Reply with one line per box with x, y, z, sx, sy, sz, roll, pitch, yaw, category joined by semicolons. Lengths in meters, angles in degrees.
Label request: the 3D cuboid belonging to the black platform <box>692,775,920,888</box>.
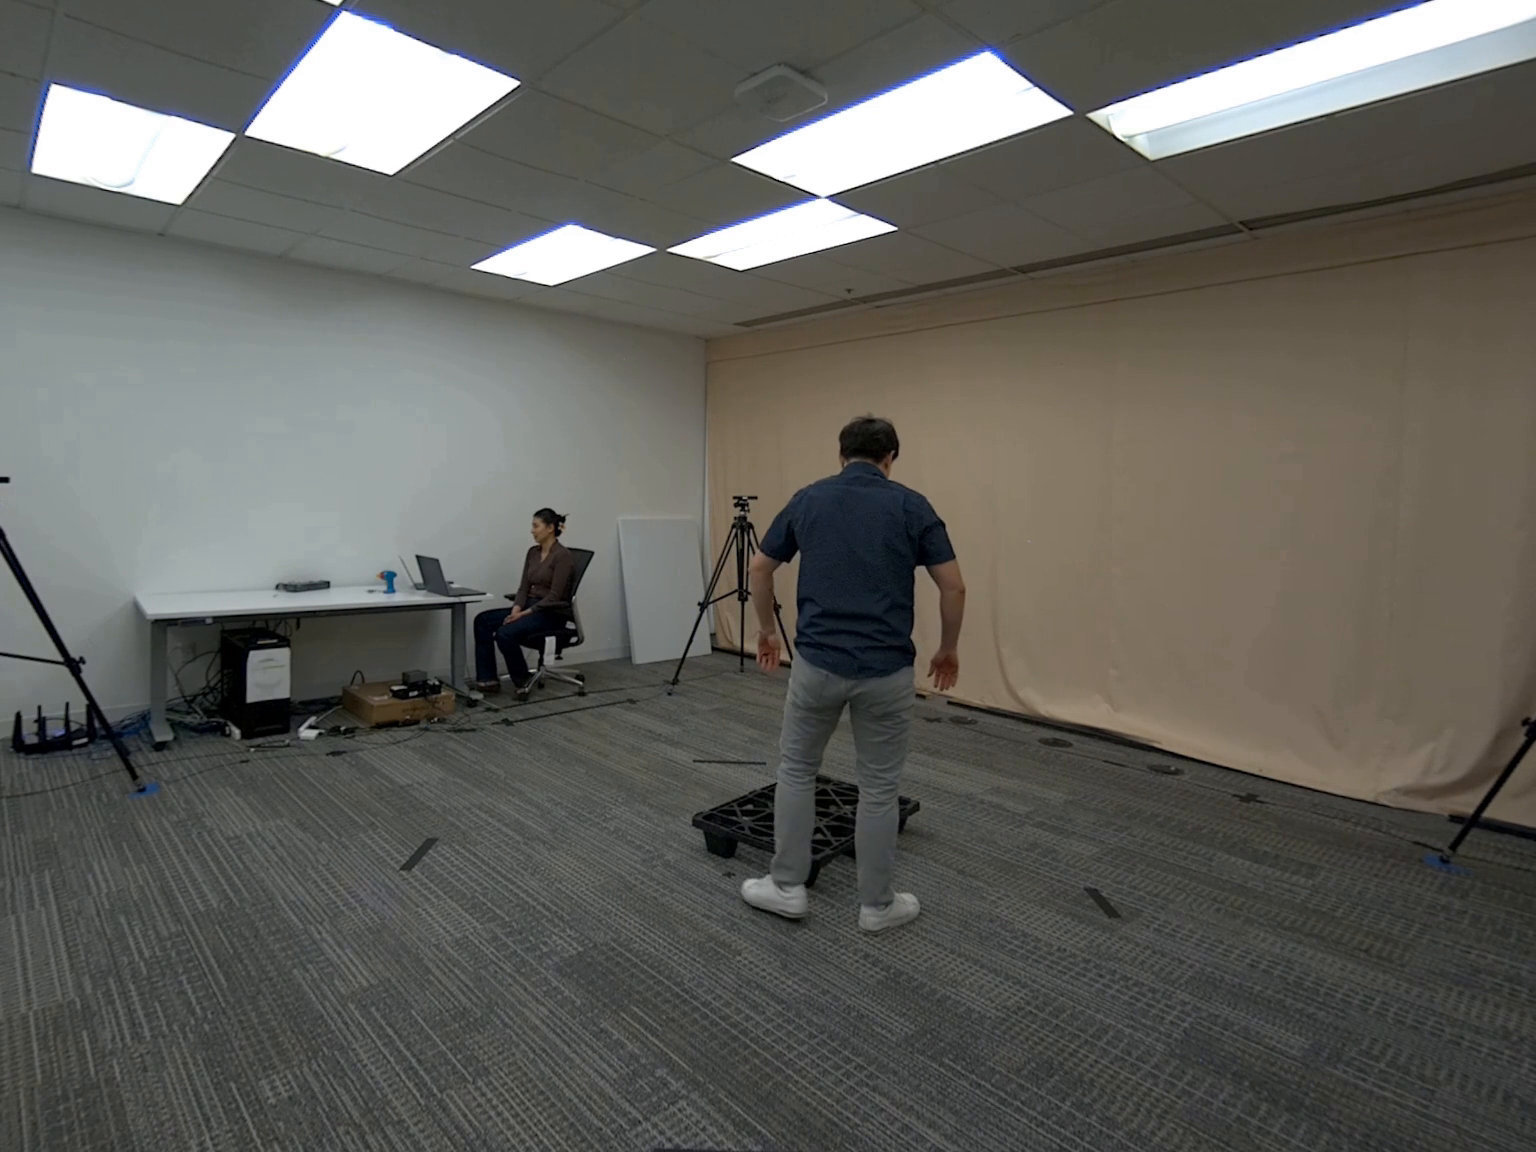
0.165;1.015;3.430;0.620;0.143;0.788;6;7;38;black platform
